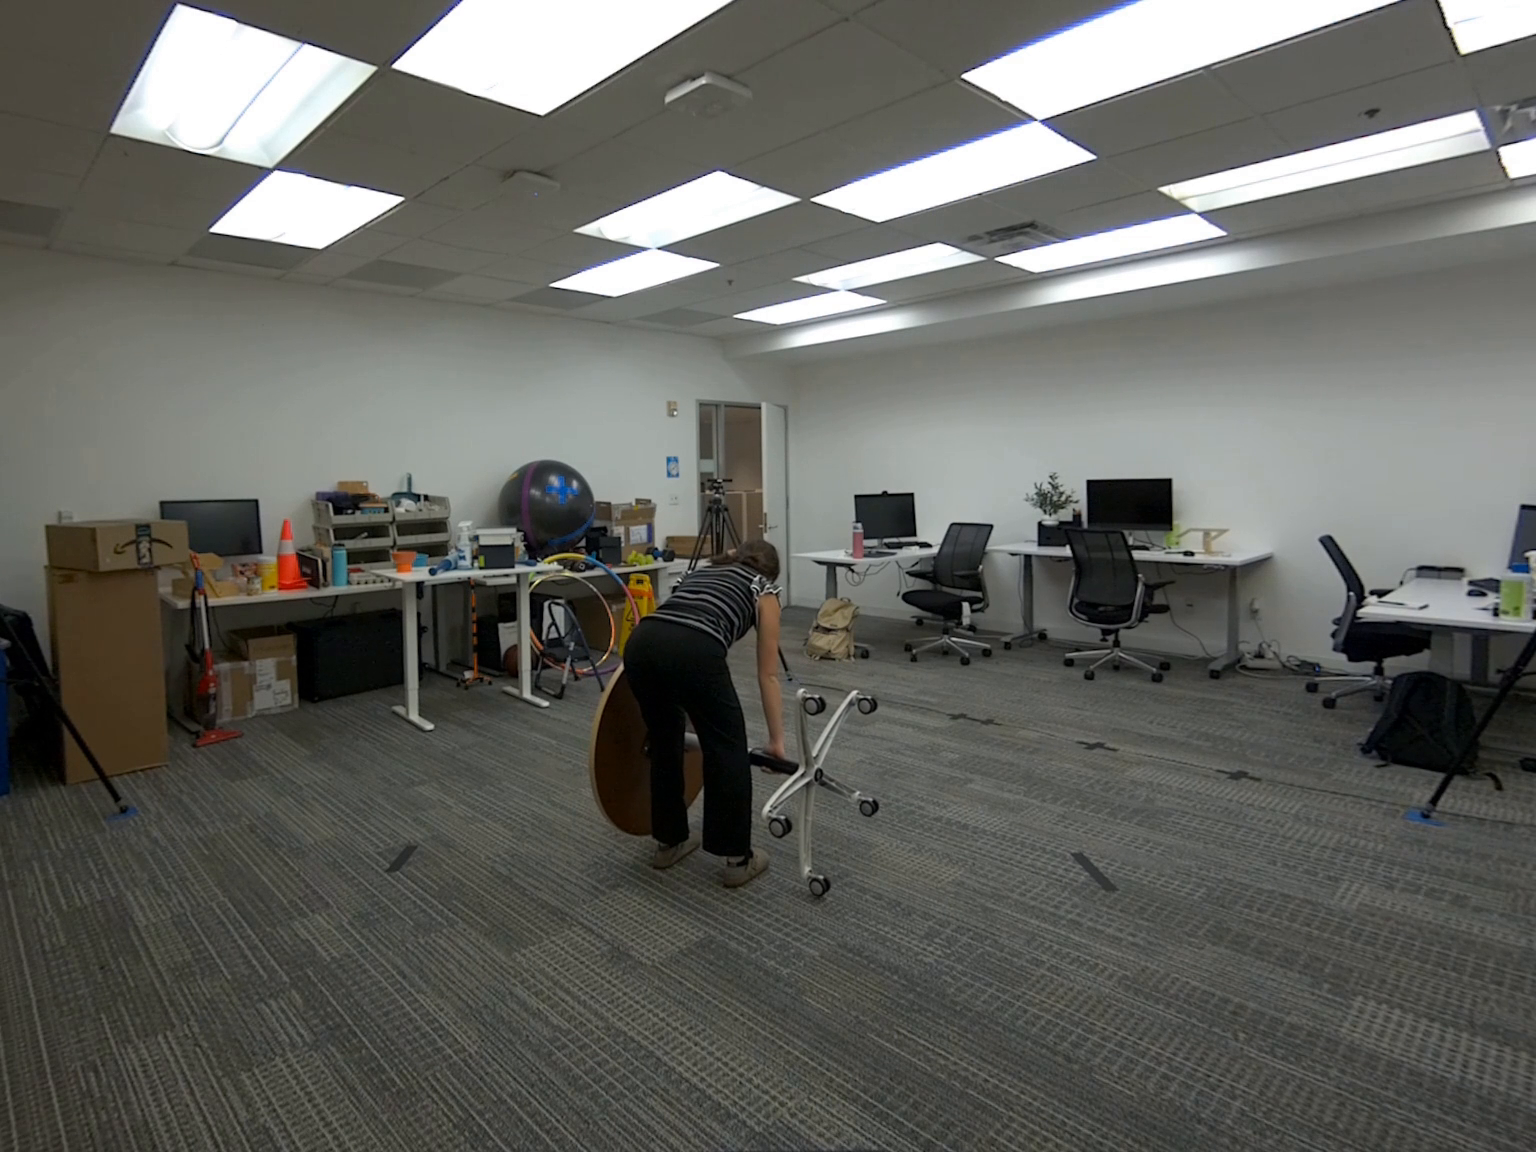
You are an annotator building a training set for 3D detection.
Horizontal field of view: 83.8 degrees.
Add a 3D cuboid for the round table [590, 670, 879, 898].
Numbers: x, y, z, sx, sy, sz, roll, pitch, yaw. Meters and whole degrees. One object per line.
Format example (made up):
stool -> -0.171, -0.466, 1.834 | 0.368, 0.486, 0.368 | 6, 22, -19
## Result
round table -> -0.087, 0.657, 3.083 | 0.818, 0.760, 0.745 | 6, 8, 35
